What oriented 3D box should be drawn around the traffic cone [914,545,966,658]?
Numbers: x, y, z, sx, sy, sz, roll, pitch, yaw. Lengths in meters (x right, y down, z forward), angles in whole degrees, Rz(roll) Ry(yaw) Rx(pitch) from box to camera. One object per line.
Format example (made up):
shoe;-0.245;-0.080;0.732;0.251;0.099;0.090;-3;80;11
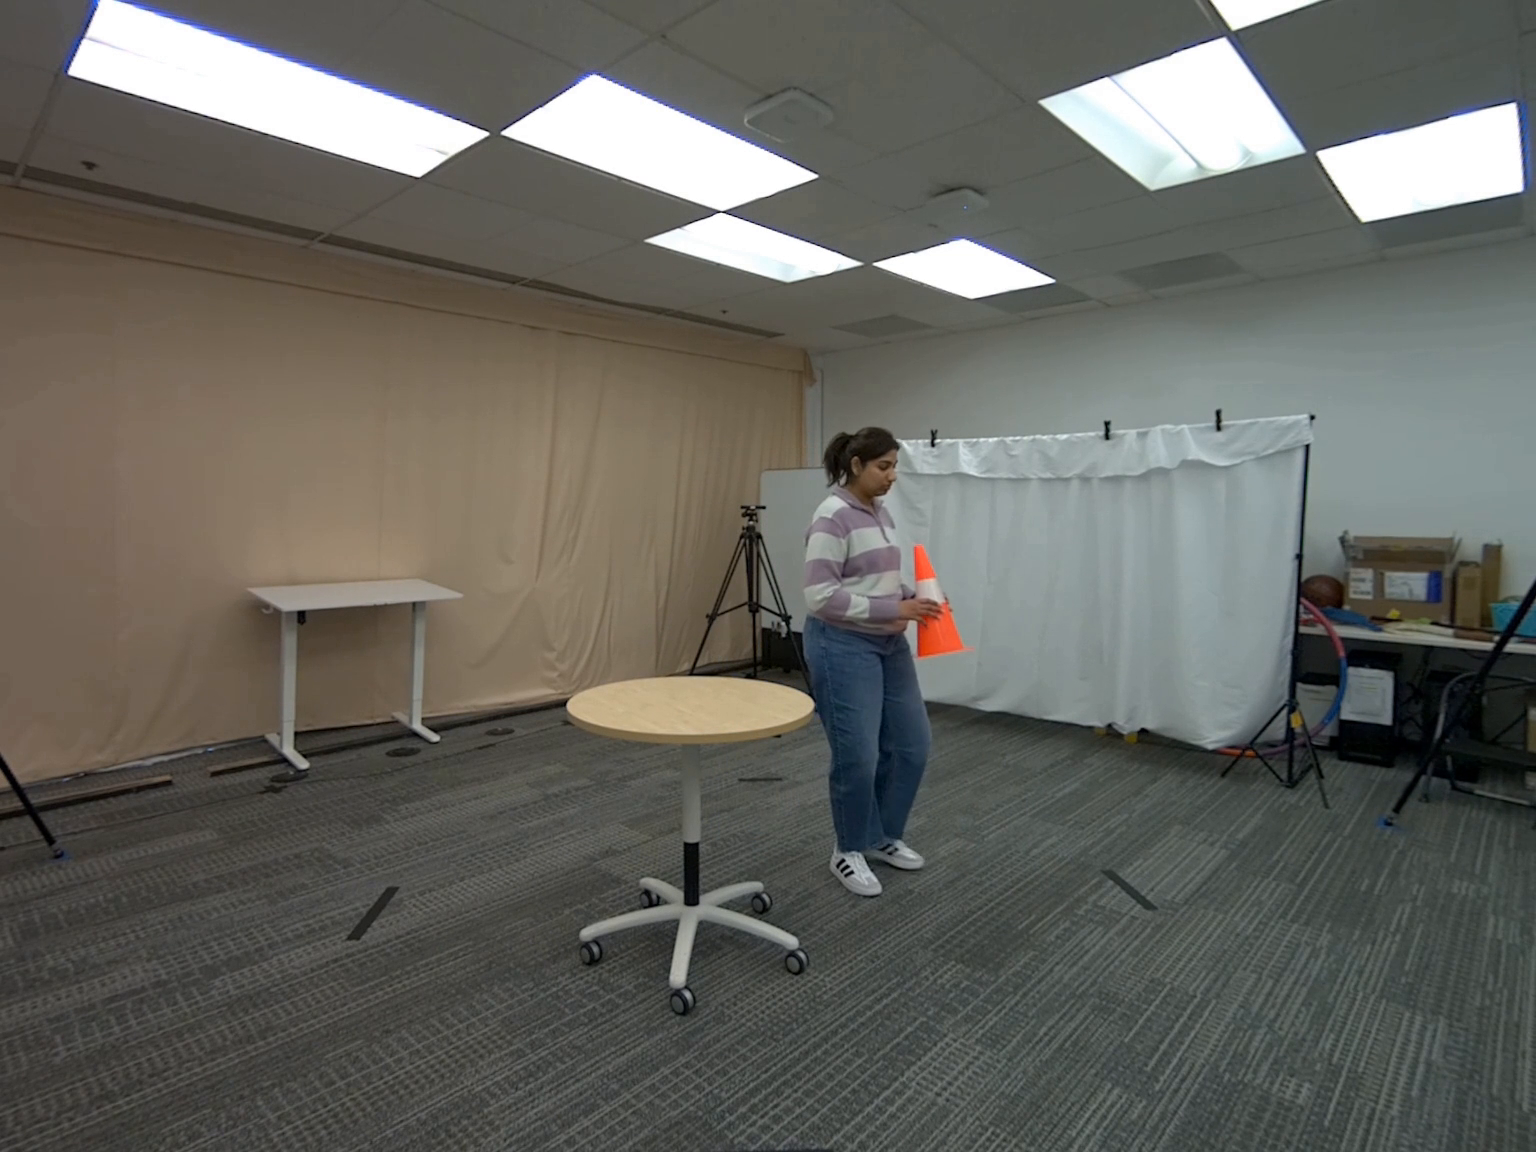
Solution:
traffic cone;0.570;0.085;2.949;0.203;0.385;0.204;-11;-6;-9
